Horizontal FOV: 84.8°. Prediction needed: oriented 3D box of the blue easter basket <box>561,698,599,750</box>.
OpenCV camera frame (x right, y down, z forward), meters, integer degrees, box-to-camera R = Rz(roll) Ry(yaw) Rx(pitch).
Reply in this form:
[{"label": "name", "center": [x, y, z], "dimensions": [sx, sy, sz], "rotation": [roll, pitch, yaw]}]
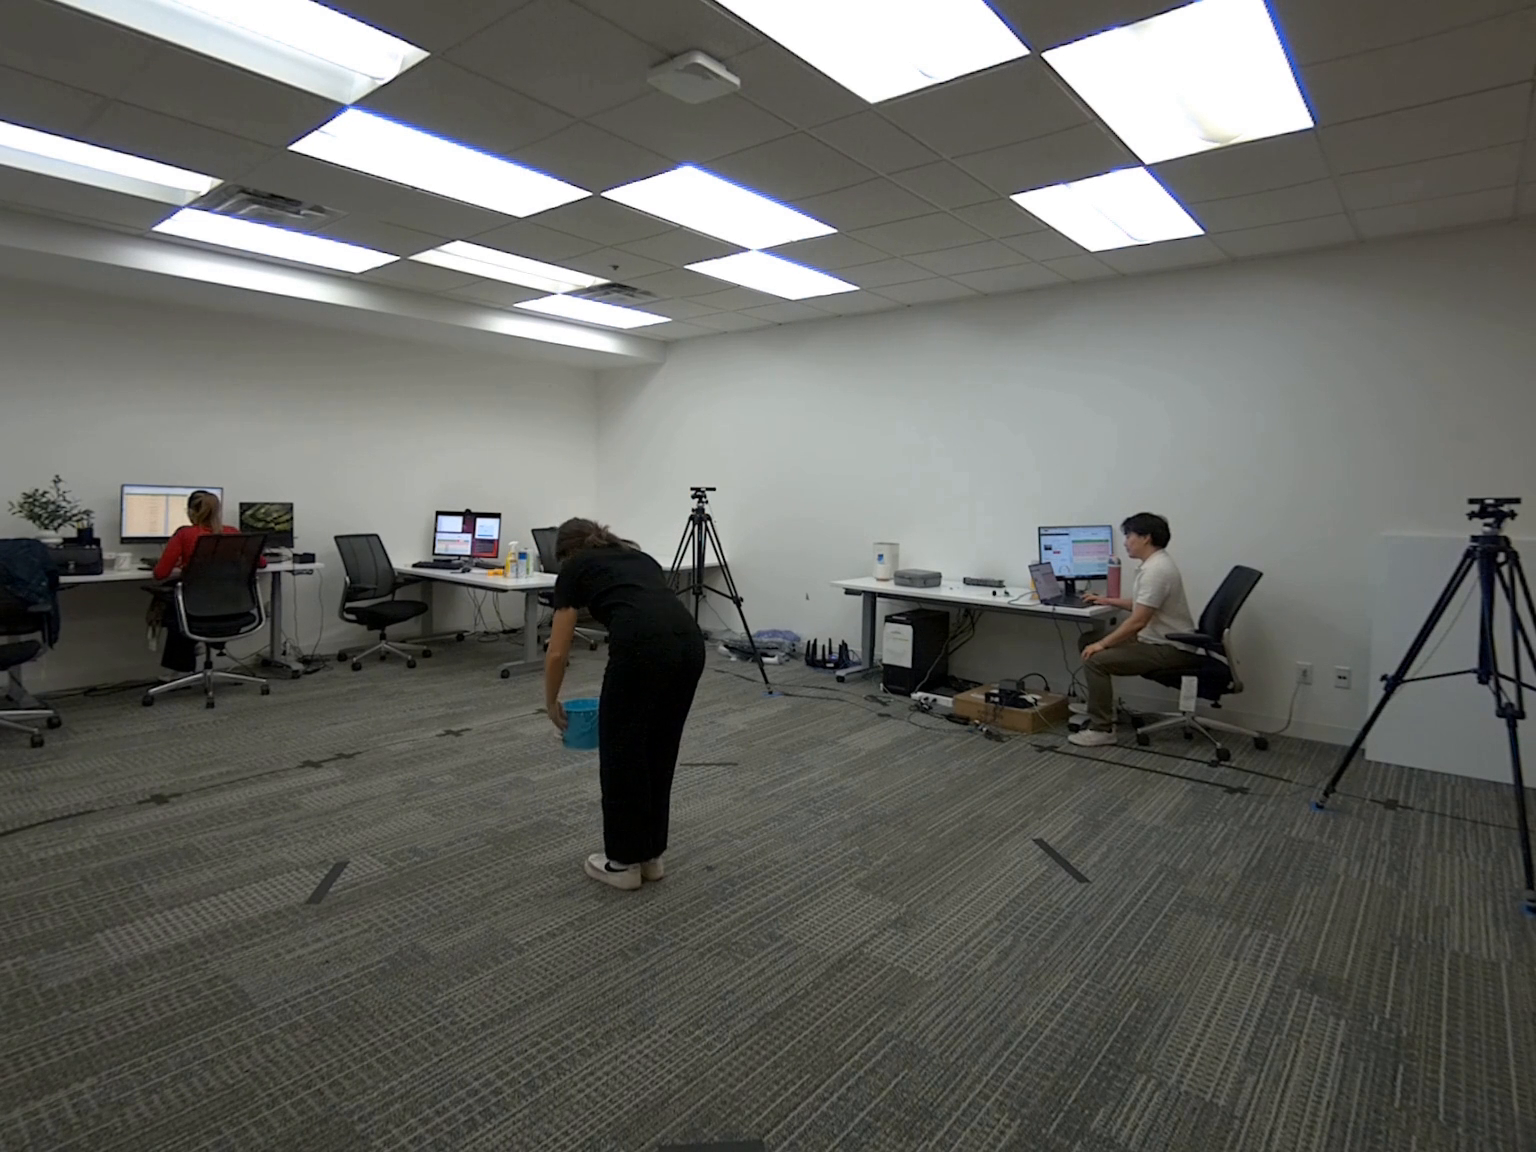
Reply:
[{"label": "blue easter basket", "center": [-0.719, 0.560, 3.254], "dimensions": [0.243, 0.155, 0.244], "rotation": [0, 3, -2]}]
